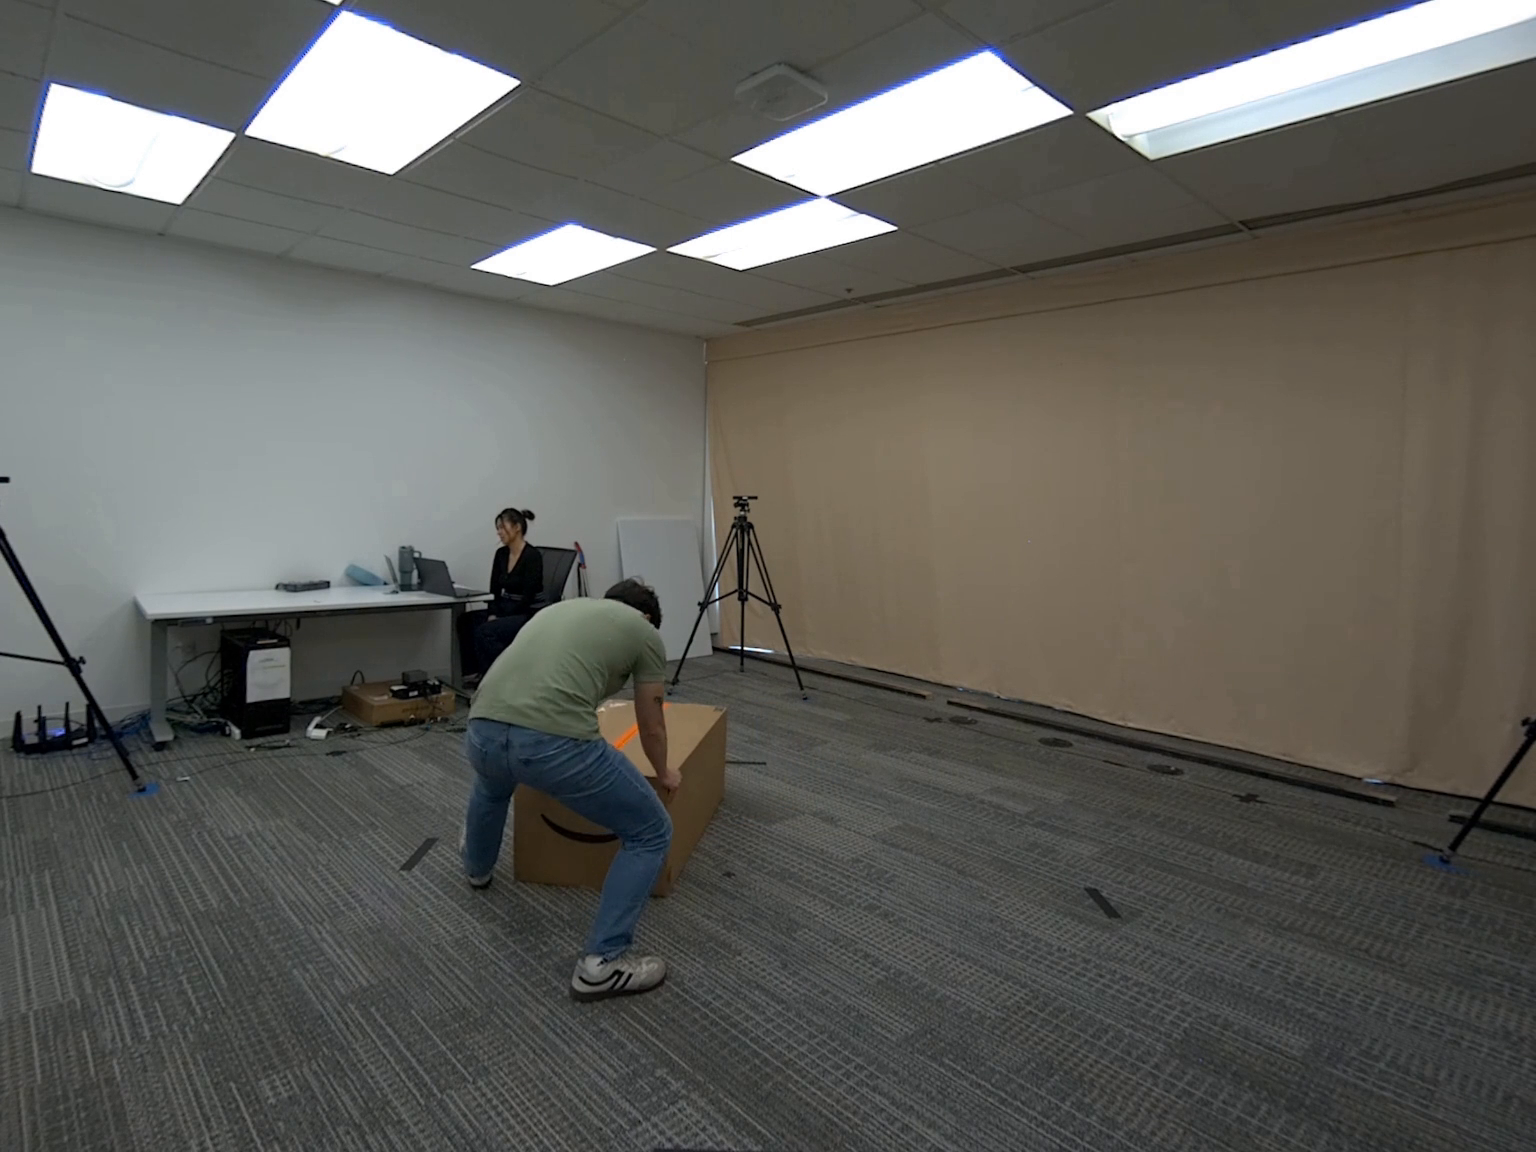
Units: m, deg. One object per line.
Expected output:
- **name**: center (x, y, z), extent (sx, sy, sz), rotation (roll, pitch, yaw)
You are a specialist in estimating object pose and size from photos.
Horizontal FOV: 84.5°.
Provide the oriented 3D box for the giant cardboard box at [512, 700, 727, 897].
- **giant cardboard box**: center (-0.556, 0.850, 3.462), extent (0.582, 0.425, 1.021), rotation (2, 5, 9)
